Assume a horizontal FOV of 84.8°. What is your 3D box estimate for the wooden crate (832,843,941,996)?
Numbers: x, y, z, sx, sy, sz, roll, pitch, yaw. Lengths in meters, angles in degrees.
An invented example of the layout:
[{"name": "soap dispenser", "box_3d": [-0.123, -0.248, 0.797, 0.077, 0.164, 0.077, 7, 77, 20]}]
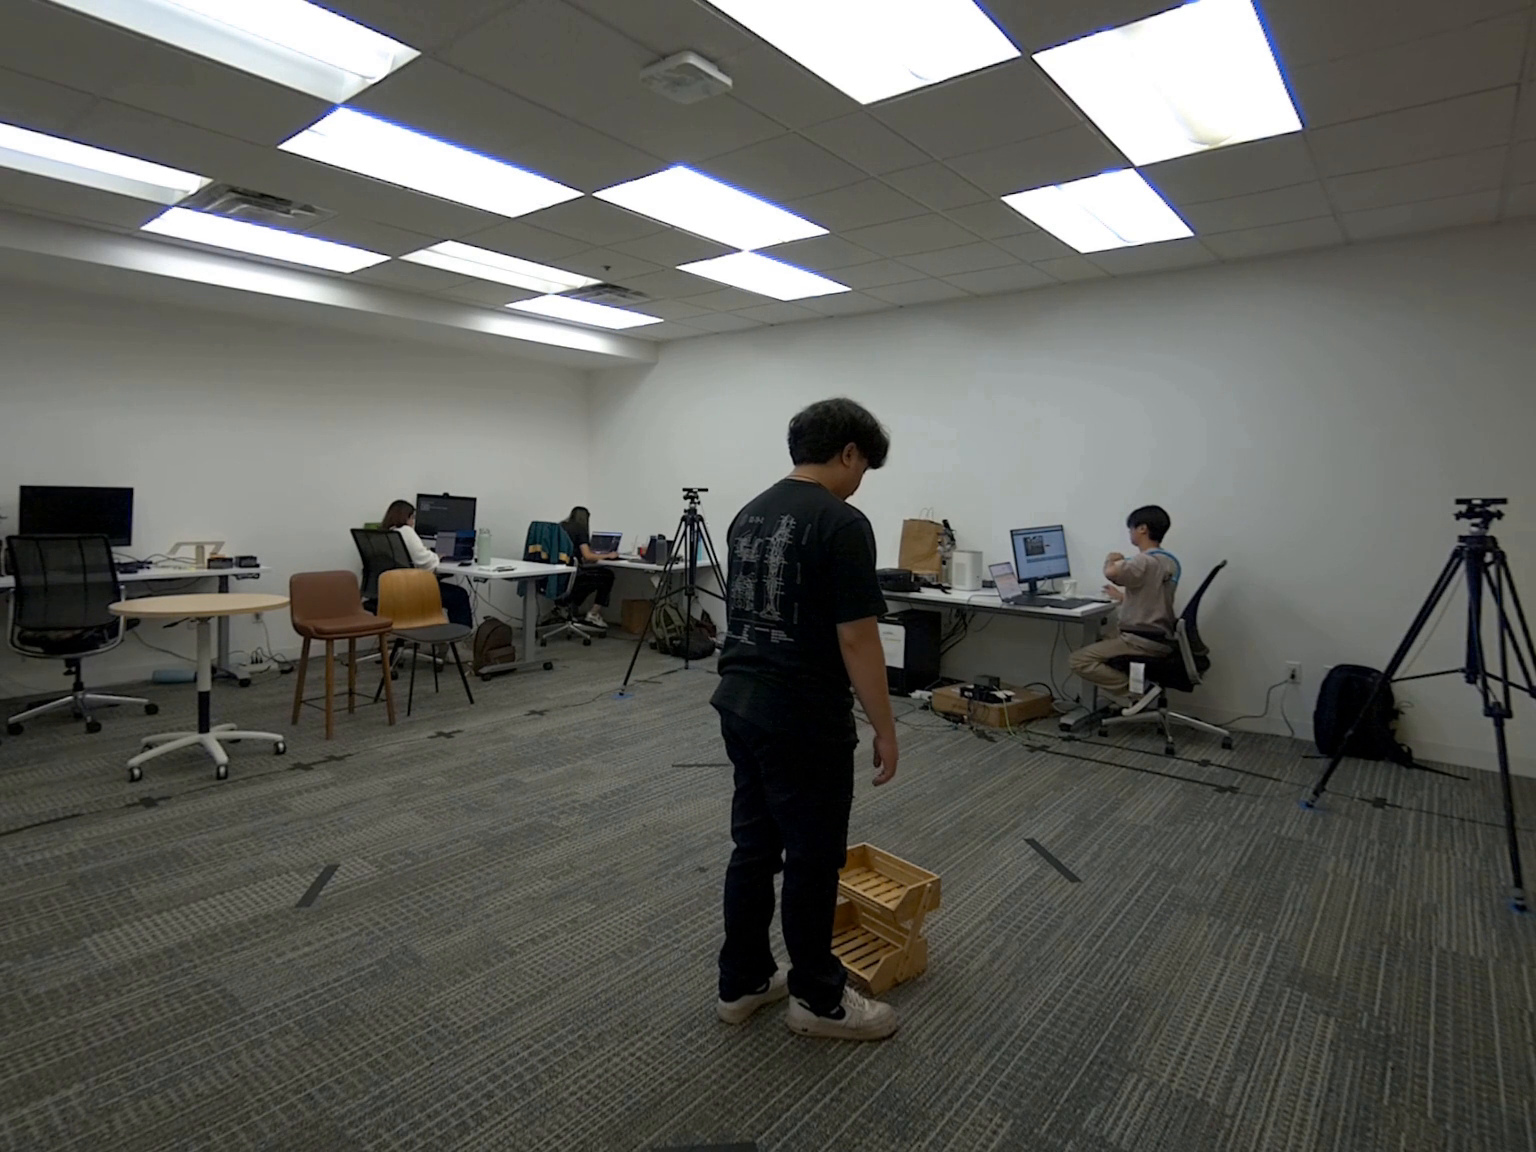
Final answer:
[{"name": "wooden crate", "box_3d": [0.292, 1.004, 2.544, 0.293, 0.272, 0.335, -1, 5, -40]}]
